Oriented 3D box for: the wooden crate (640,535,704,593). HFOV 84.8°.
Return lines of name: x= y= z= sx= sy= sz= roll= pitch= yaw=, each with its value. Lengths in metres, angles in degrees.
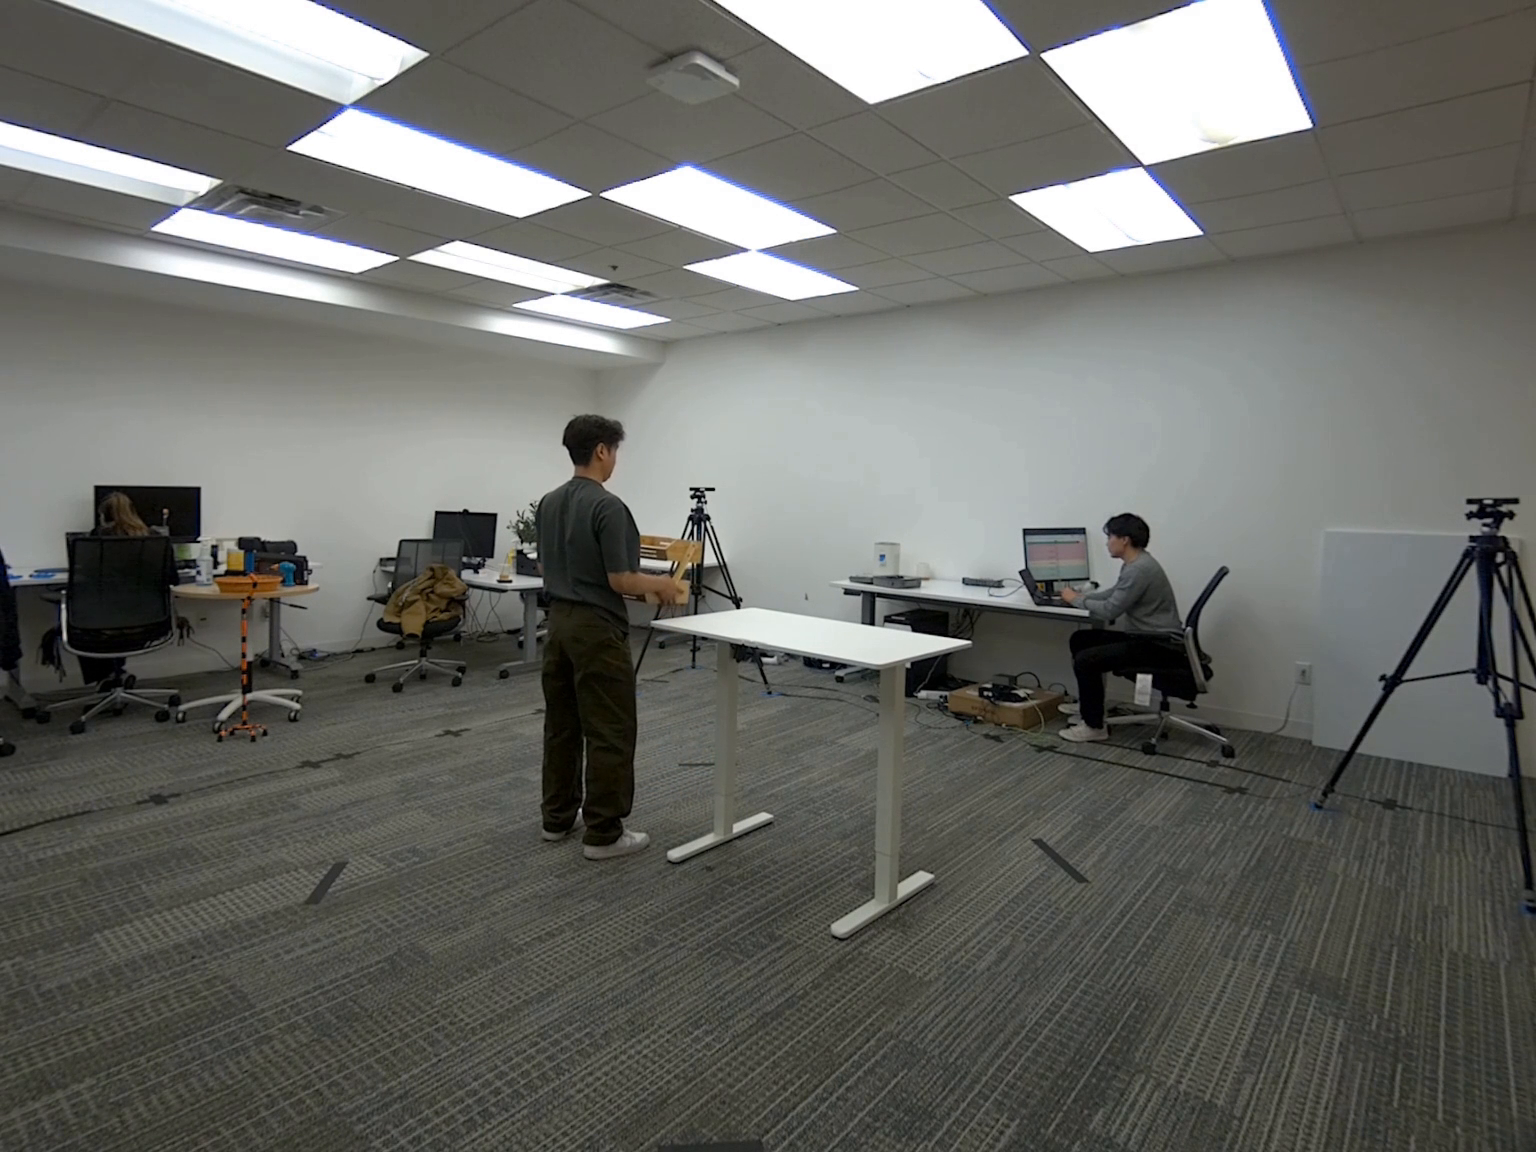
wooden crate: x=-0.503 y=-0.041 z=3.526 sx=0.336 sy=0.273 sz=0.292 roll=7 pitch=1 yaw=43
